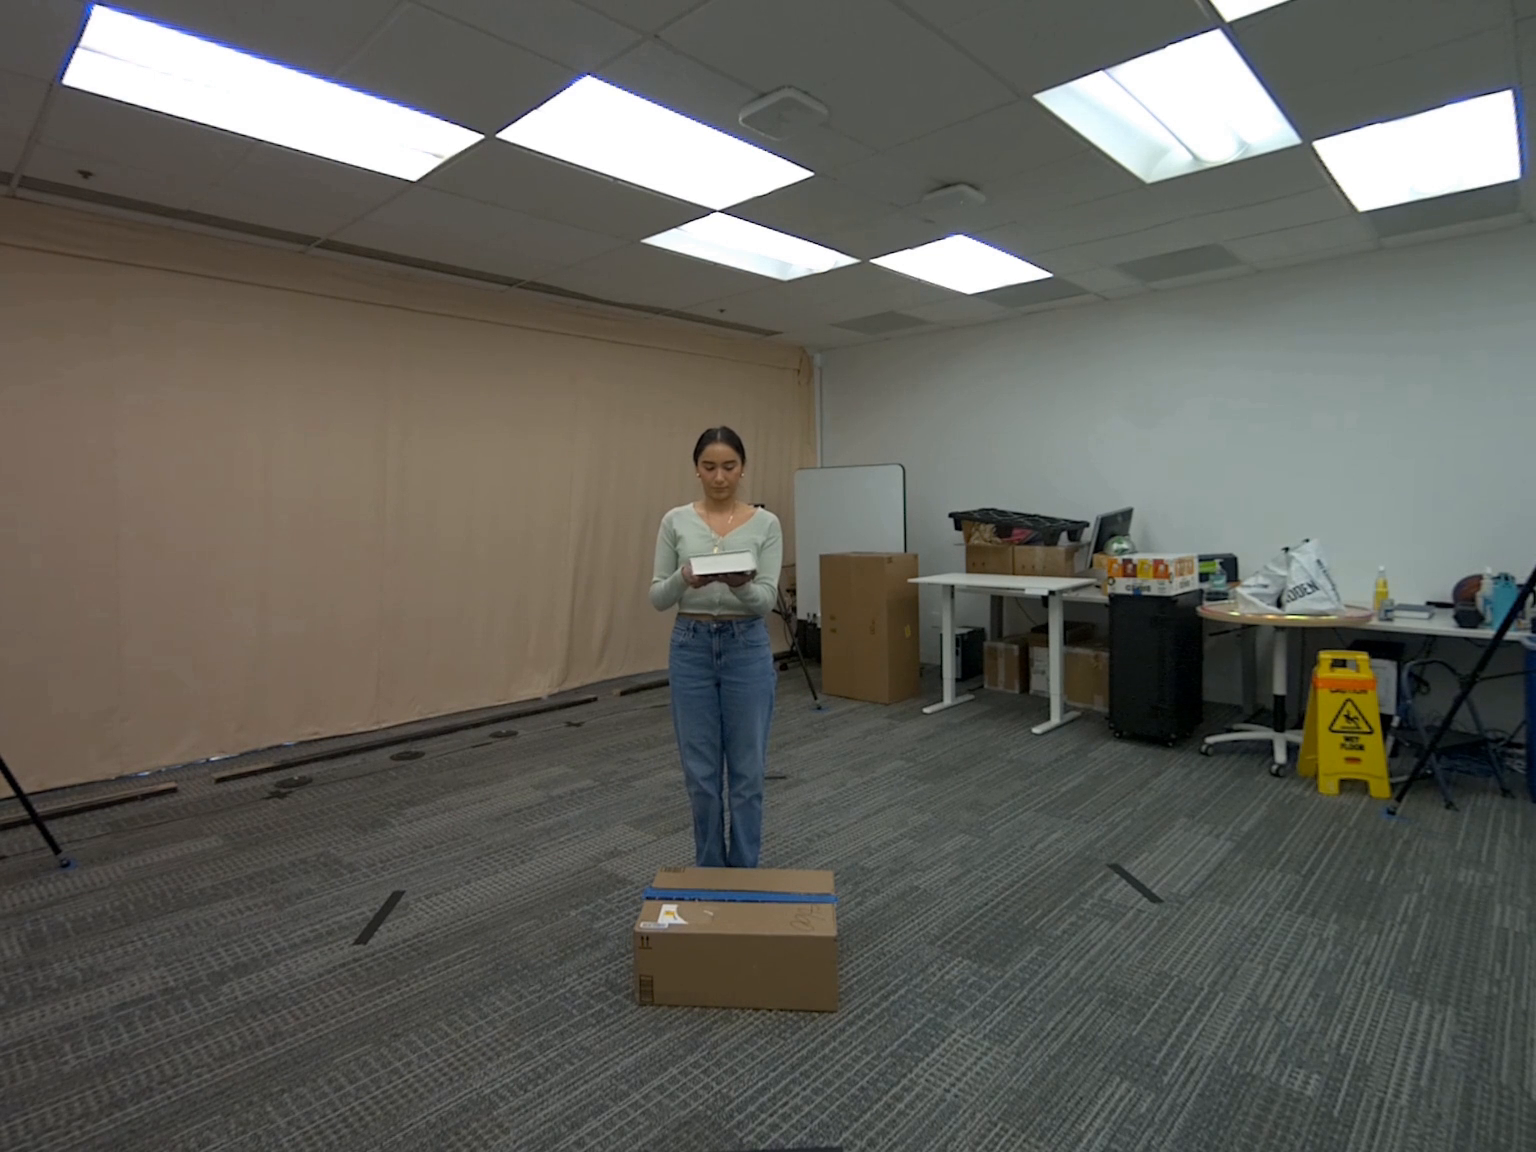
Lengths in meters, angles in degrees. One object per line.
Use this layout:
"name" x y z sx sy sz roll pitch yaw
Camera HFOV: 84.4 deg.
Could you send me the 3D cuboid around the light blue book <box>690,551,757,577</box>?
"light blue book" -0.132 -0.026 2.532 0.191 0.059 0.260 -7 -4 -2
